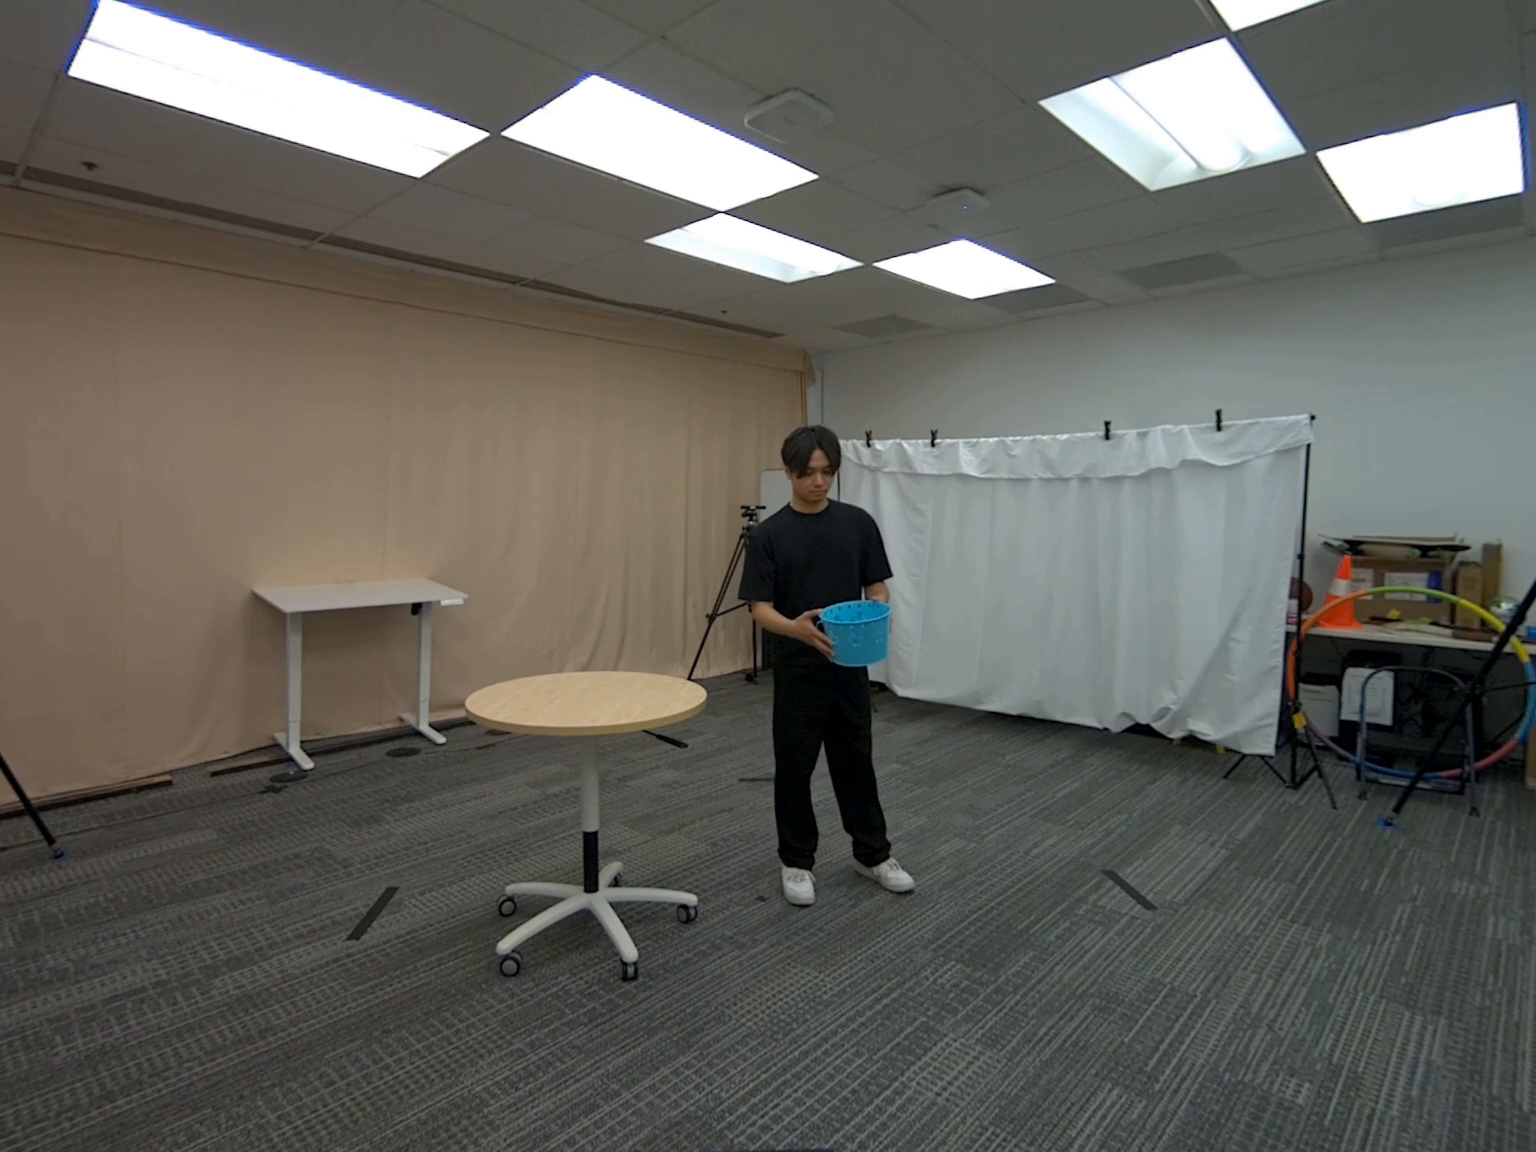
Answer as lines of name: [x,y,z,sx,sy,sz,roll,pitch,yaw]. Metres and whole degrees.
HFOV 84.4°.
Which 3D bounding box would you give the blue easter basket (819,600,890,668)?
blue easter basket: [0.289,0.182,2.698,0.244,0.154,0.246,-6,13,-1]
